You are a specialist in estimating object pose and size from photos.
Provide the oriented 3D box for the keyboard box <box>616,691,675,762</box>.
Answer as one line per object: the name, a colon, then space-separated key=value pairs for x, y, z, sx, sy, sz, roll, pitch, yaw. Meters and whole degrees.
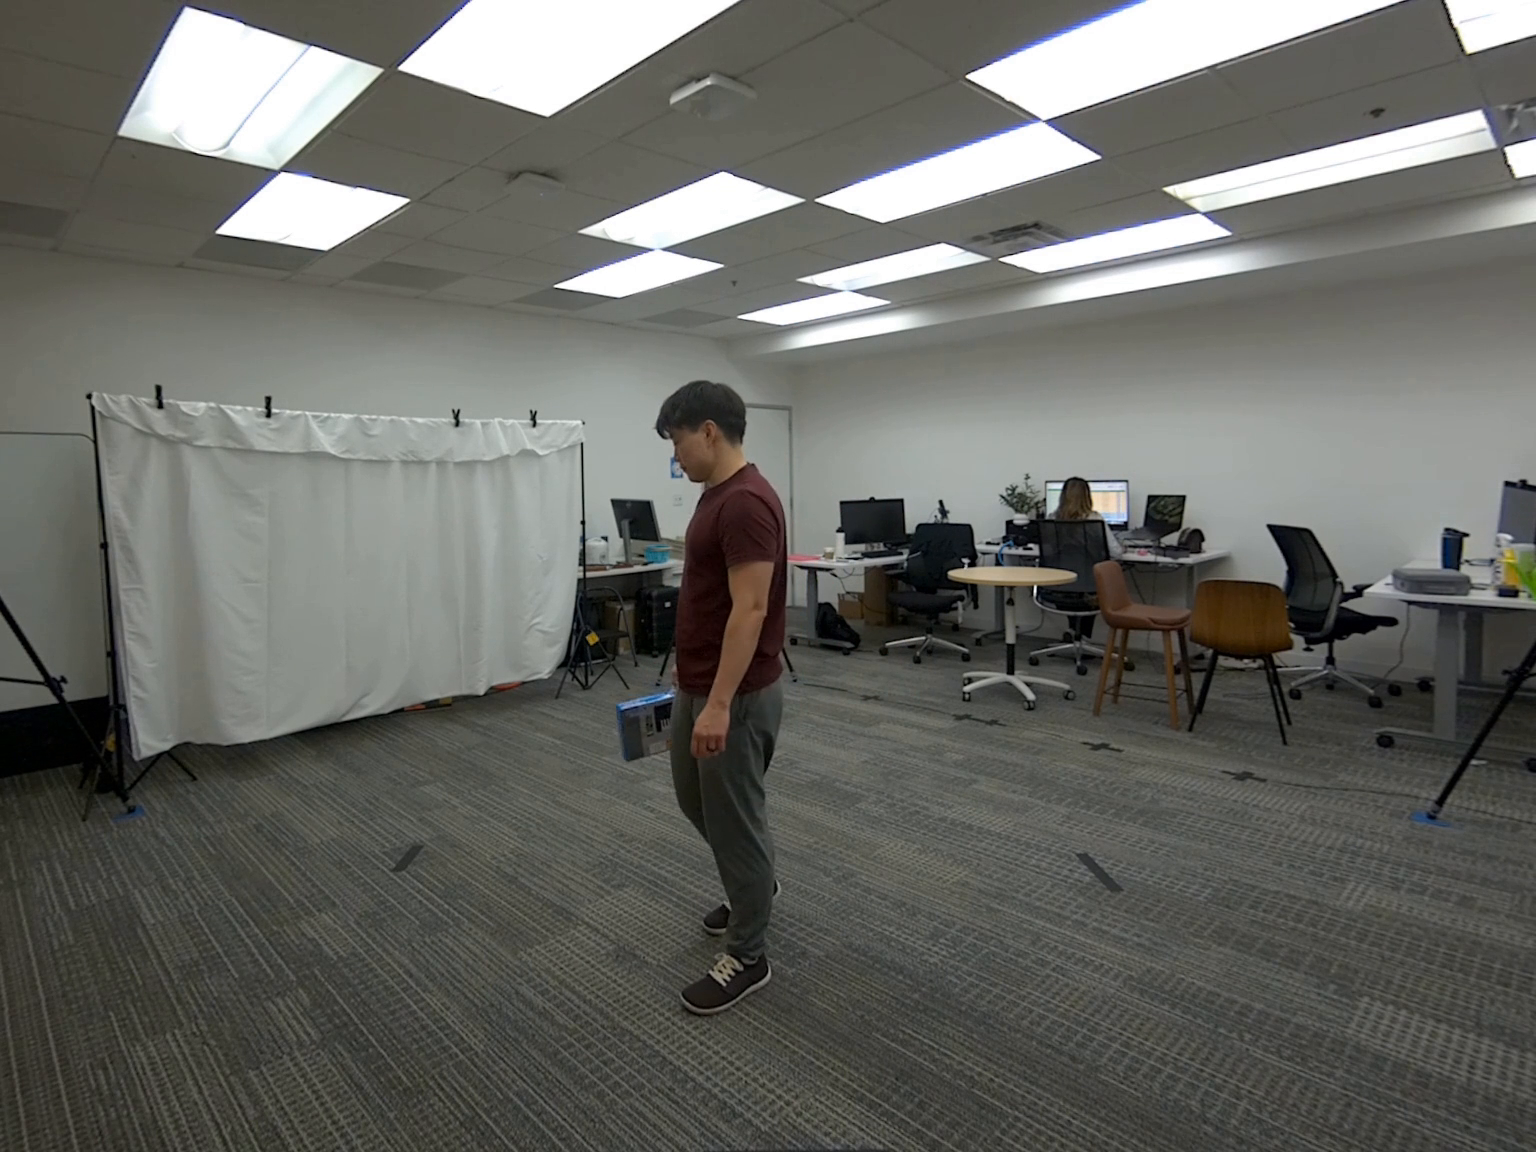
keyboard box: x=-0.247 y=0.442 z=2.684 sx=0.430 sy=0.174 sz=0.061 roll=-12 pitch=12 yaw=-22
